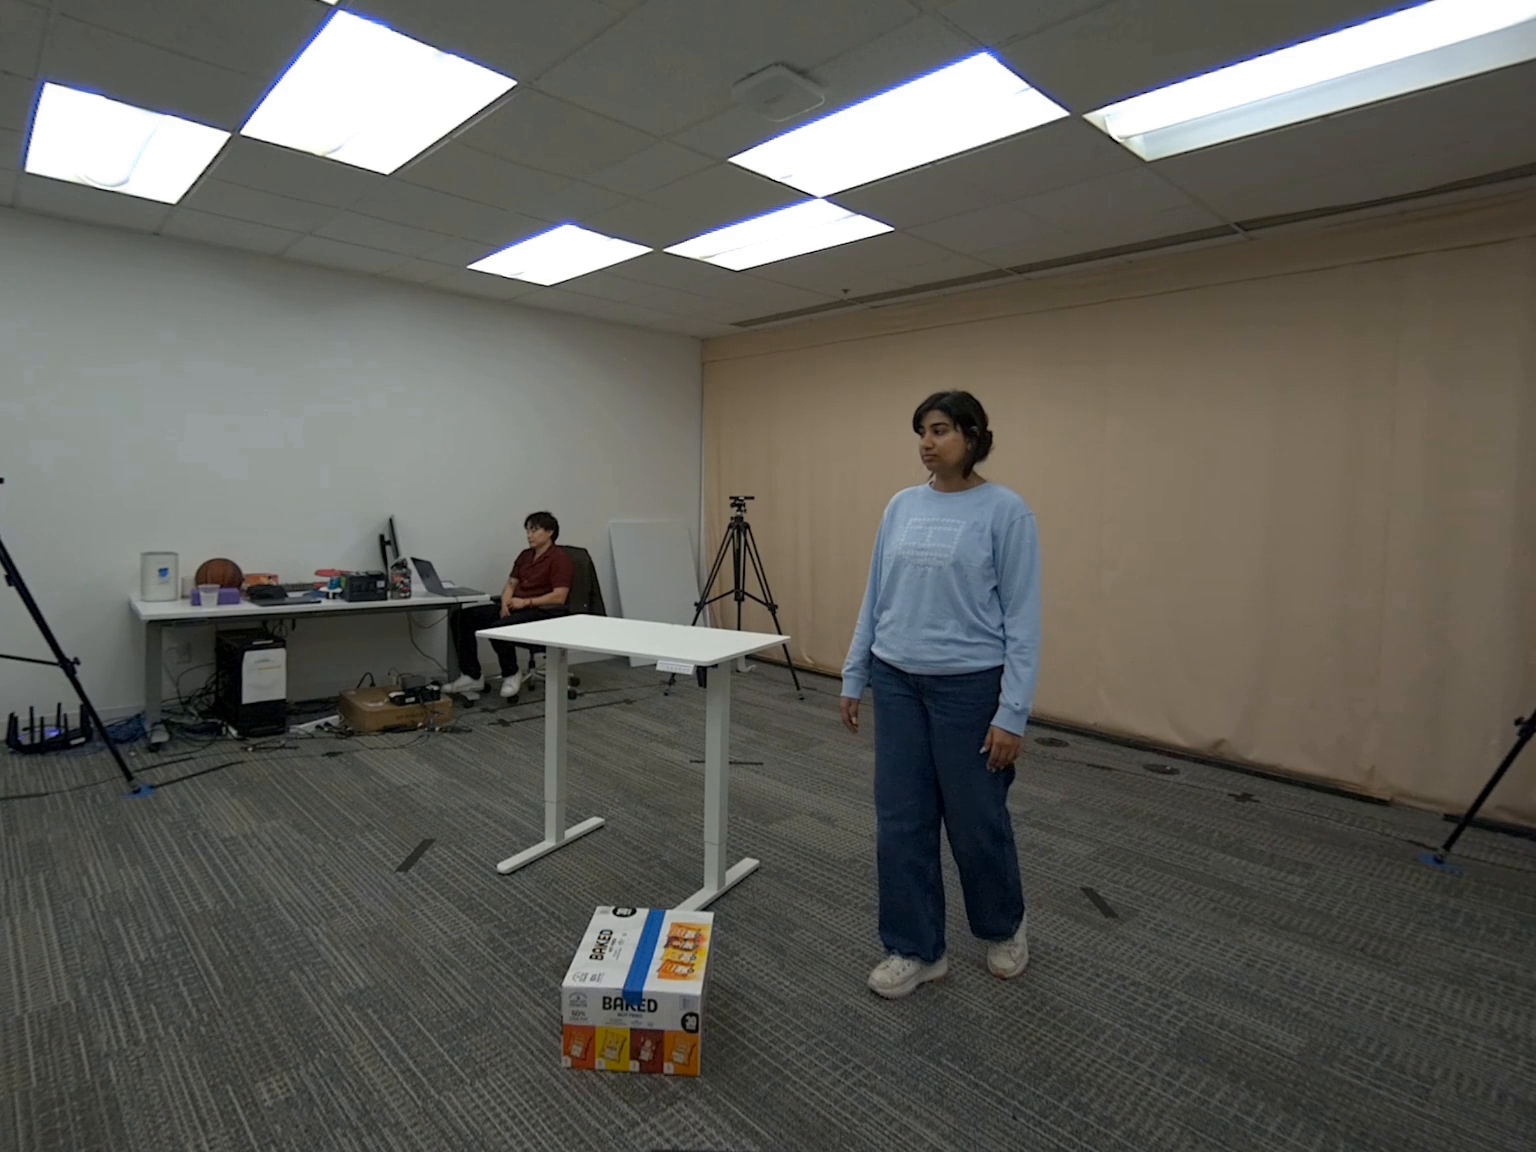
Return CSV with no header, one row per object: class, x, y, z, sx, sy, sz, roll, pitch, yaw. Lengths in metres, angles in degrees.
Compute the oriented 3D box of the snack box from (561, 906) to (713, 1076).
snack box,-0.329,1.074,2.230,0.341,0.205,0.405,2,5,2
